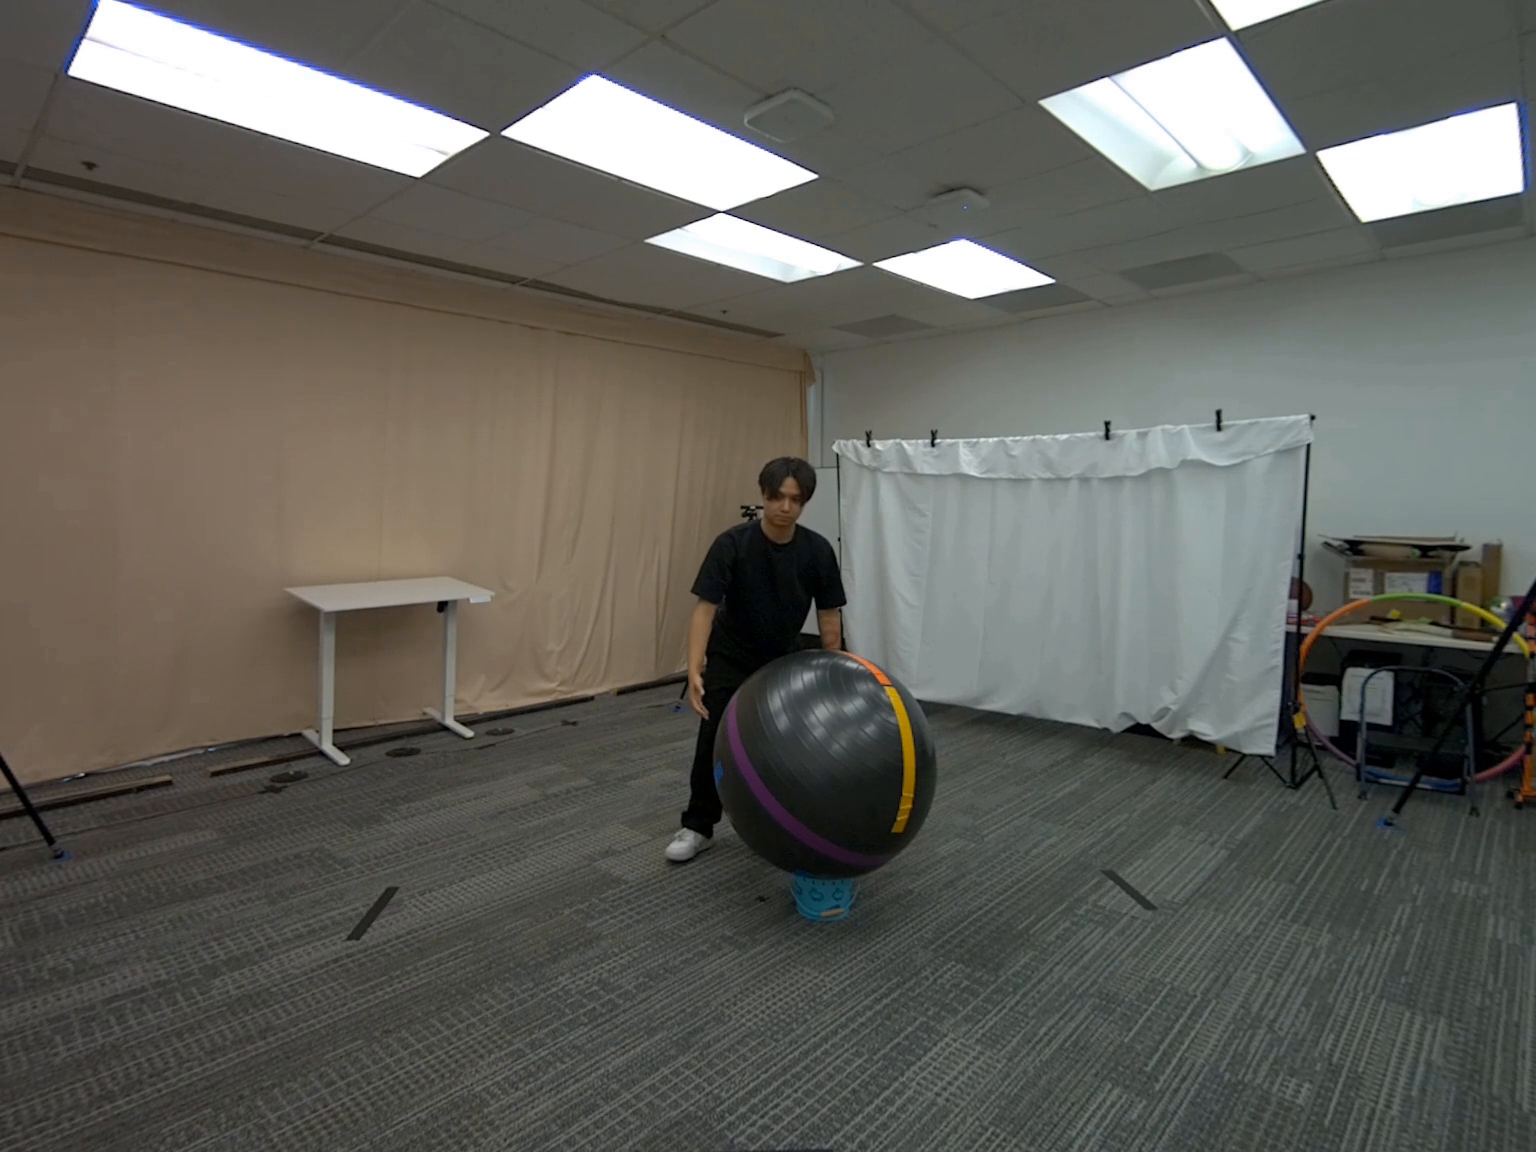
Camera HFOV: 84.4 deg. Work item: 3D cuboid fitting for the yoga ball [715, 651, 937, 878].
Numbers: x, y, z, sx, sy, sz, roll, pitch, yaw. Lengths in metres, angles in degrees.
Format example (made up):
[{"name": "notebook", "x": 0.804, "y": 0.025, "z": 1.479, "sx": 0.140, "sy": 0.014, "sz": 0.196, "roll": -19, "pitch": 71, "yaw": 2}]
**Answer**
[{"name": "yoga ball", "x": 0.205, "y": 0.643, "z": 2.886, "sx": 0.757, "sy": 0.756, "sz": 0.760, "roll": 0, "pitch": 4, "yaw": -2}]
